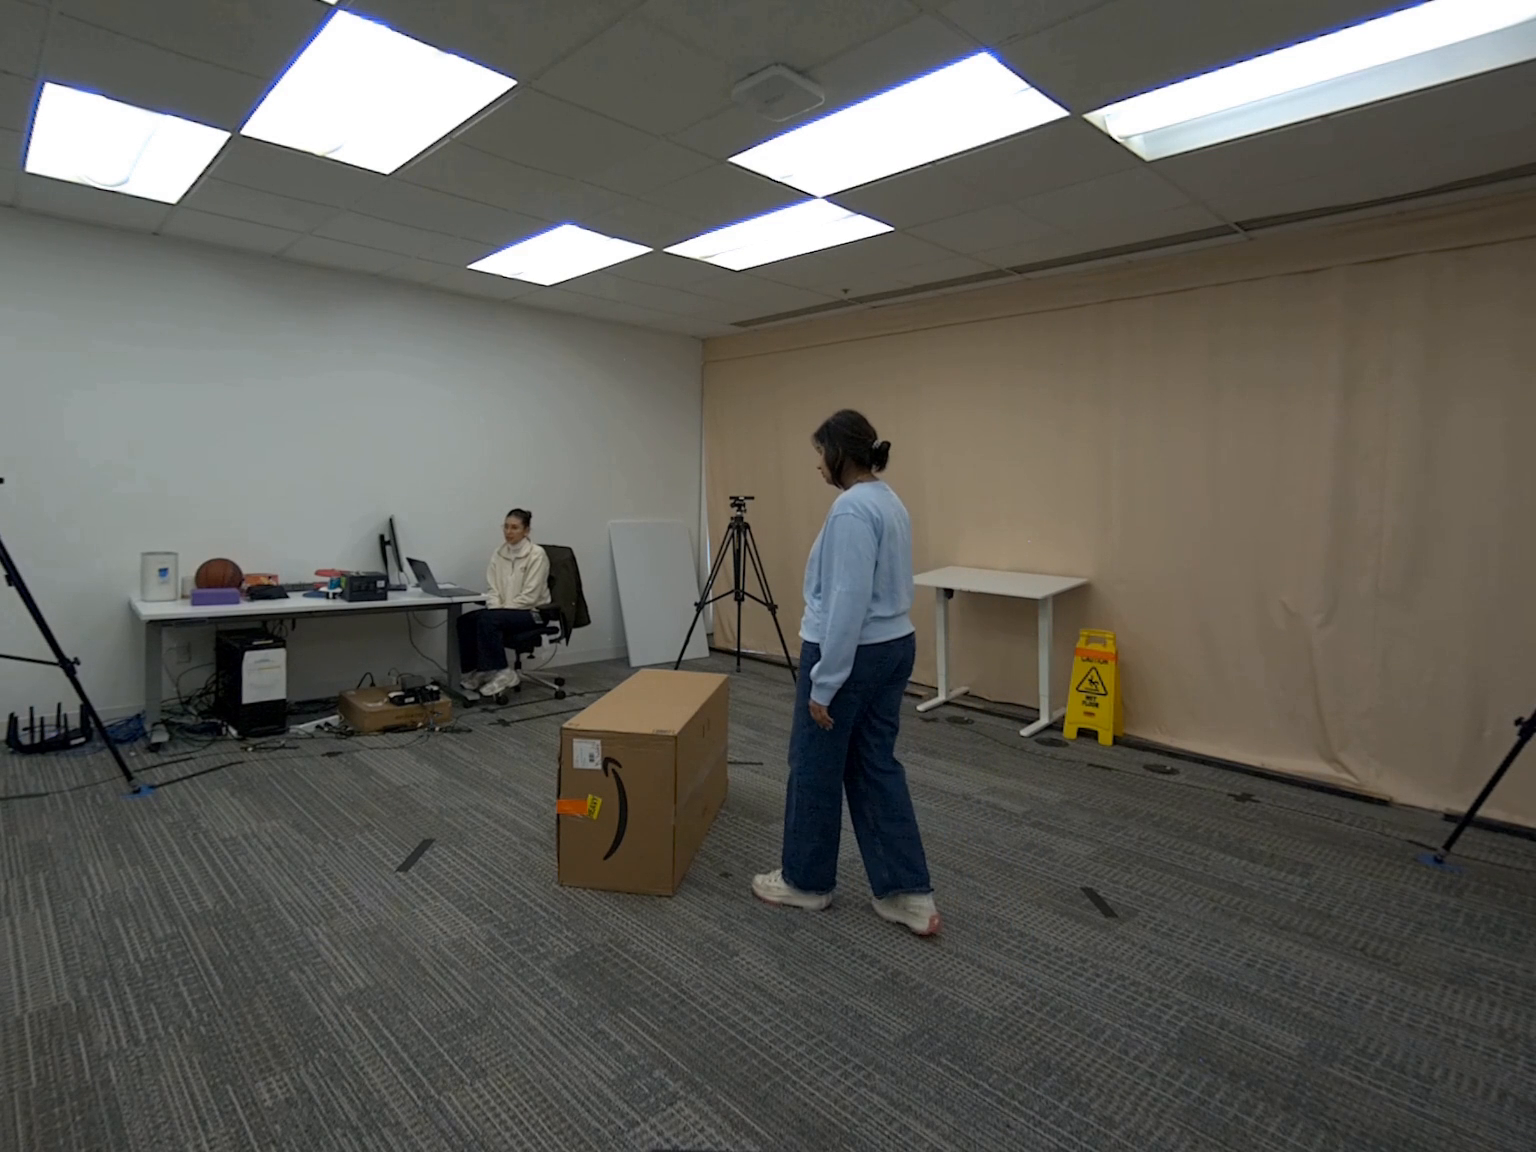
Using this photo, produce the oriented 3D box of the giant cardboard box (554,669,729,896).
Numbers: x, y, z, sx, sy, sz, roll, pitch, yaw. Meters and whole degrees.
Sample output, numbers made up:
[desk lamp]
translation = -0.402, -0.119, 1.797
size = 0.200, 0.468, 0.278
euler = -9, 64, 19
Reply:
[giant cardboard box]
translation = -0.470, 0.774, 3.449
size = 0.429, 0.576, 1.021
euler = 2, 5, 8
